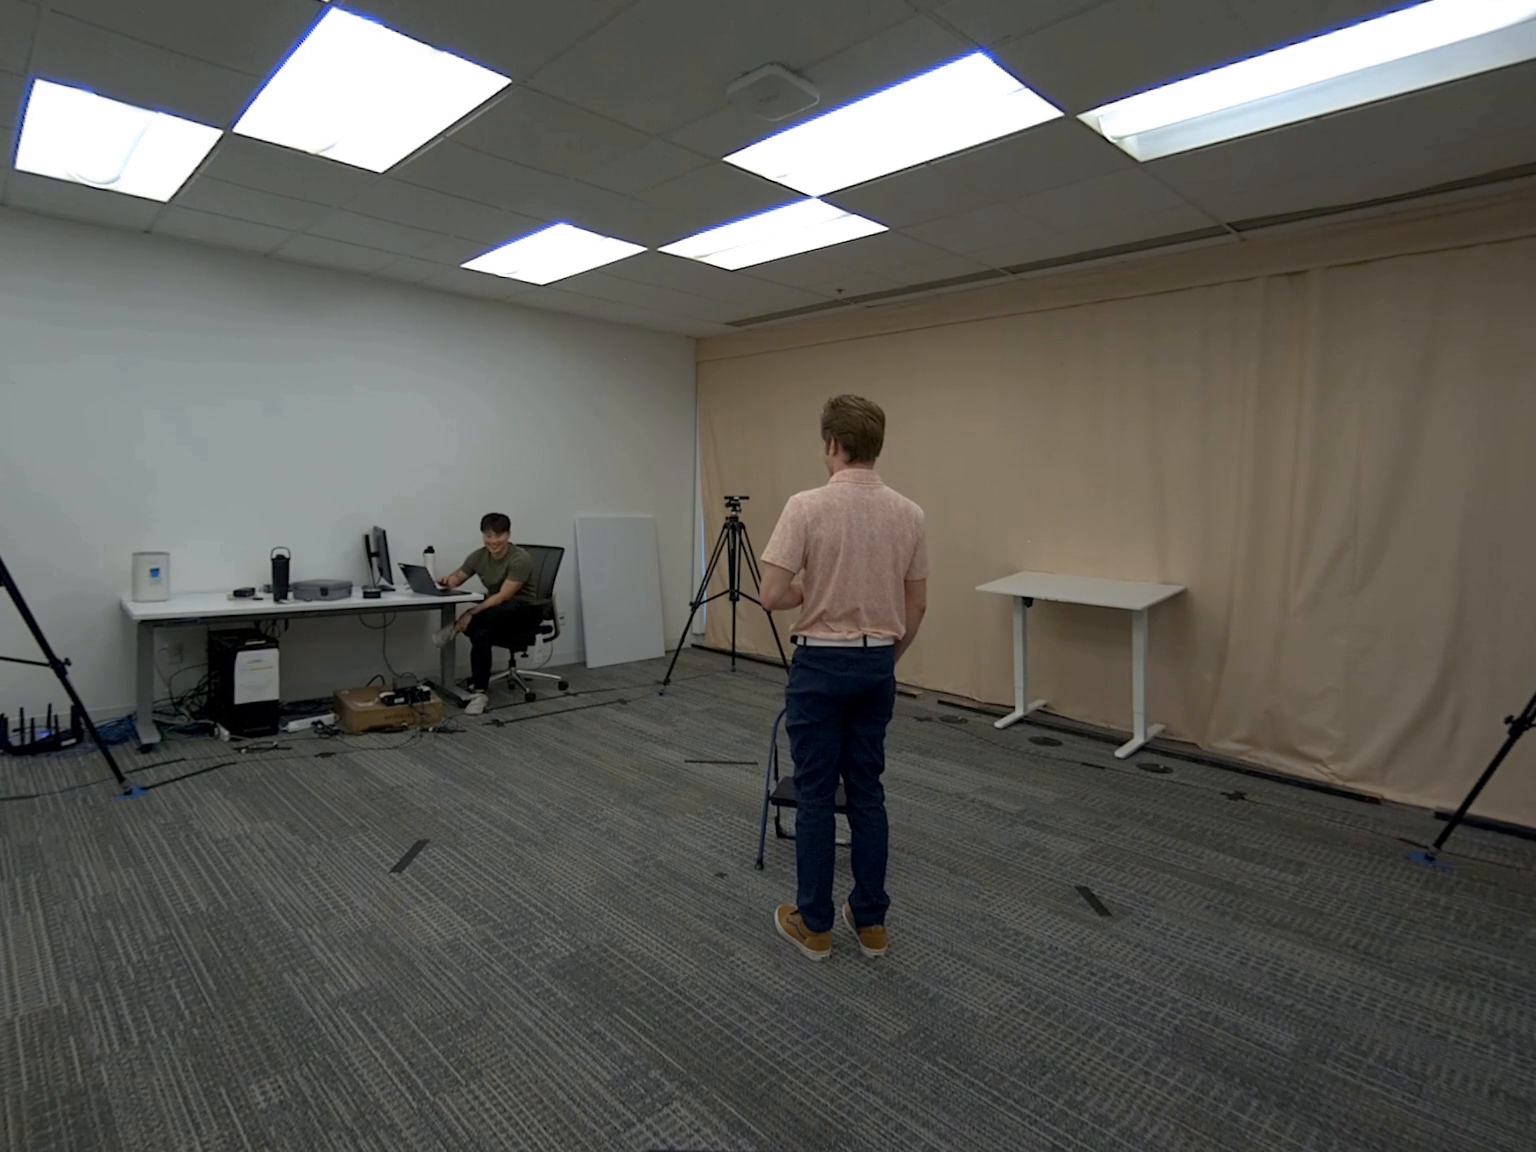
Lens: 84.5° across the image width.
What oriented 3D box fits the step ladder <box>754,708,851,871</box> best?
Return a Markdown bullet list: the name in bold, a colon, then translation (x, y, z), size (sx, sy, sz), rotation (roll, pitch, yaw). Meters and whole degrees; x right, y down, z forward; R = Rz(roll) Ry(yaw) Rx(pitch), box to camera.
- **step ladder**: translation (0.200, 0.799, 3.250), size (0.436, 0.604, 0.346), rotation (3, 4, 15)
